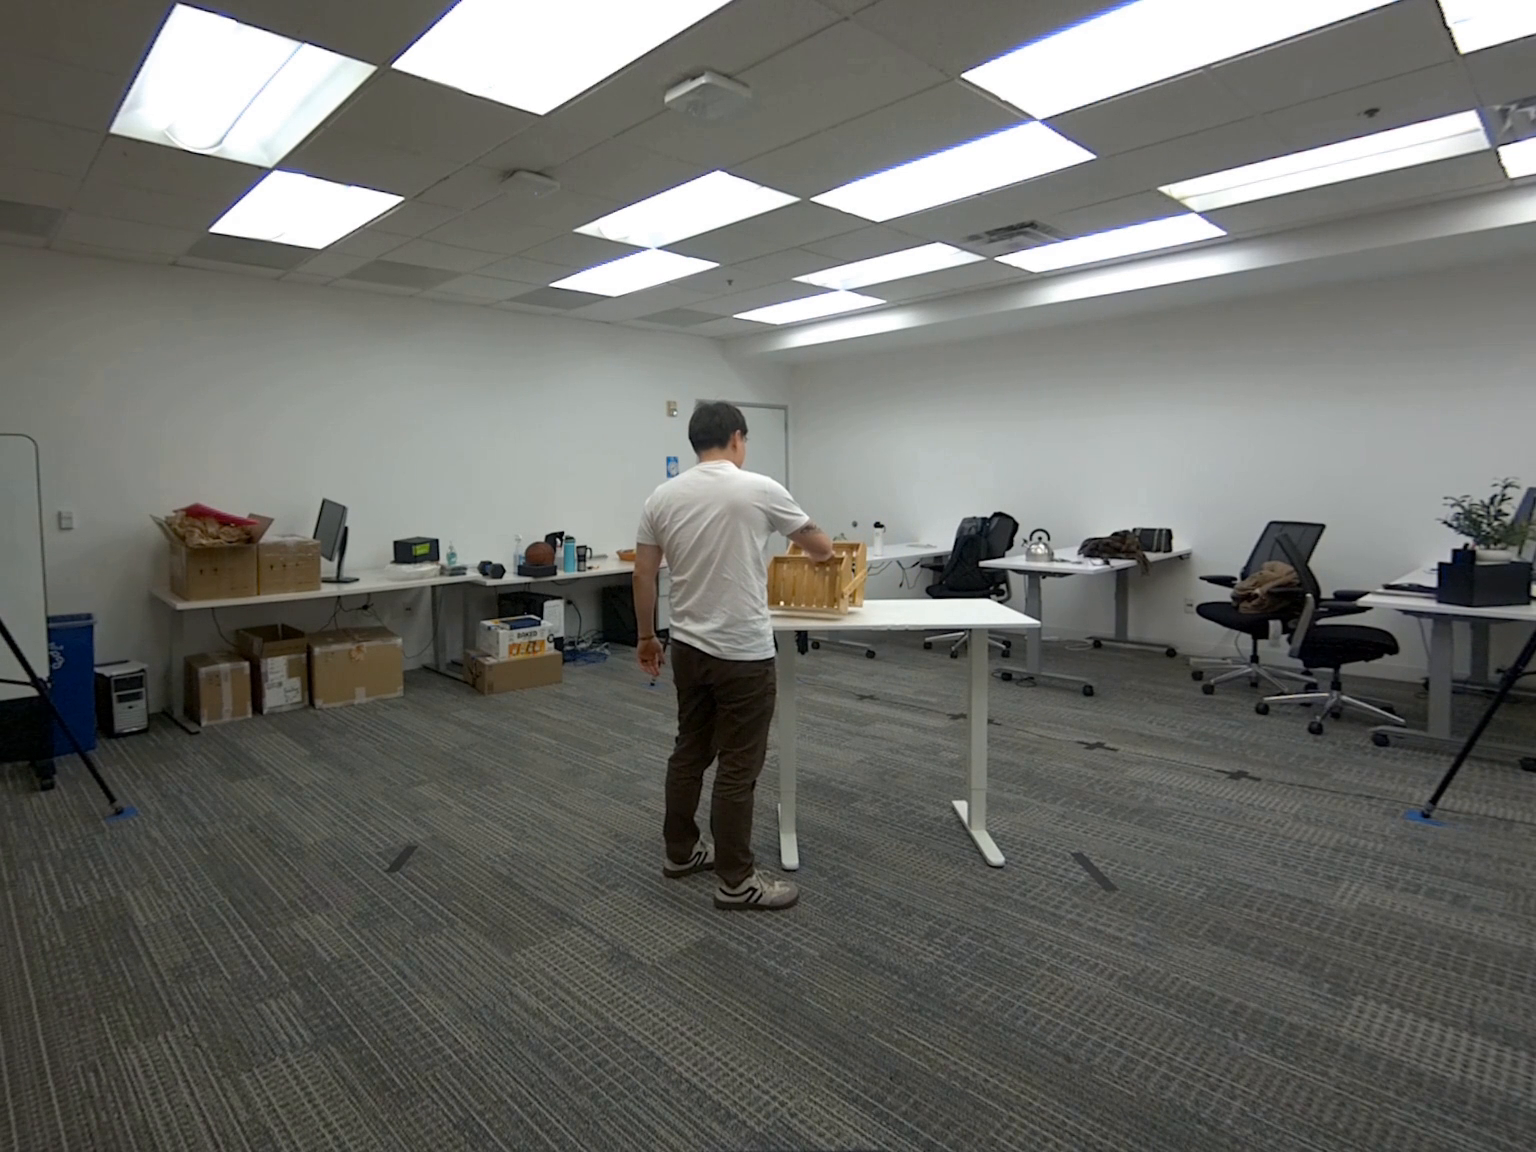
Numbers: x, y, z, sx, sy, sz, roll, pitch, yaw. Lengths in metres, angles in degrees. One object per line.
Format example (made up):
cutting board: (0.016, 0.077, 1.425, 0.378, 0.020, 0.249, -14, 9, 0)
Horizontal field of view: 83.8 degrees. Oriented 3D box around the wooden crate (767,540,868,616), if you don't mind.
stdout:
wooden crate: (0.186, -0.005, 3.240, 0.332, 0.305, 0.264, 0, -12, 26)
